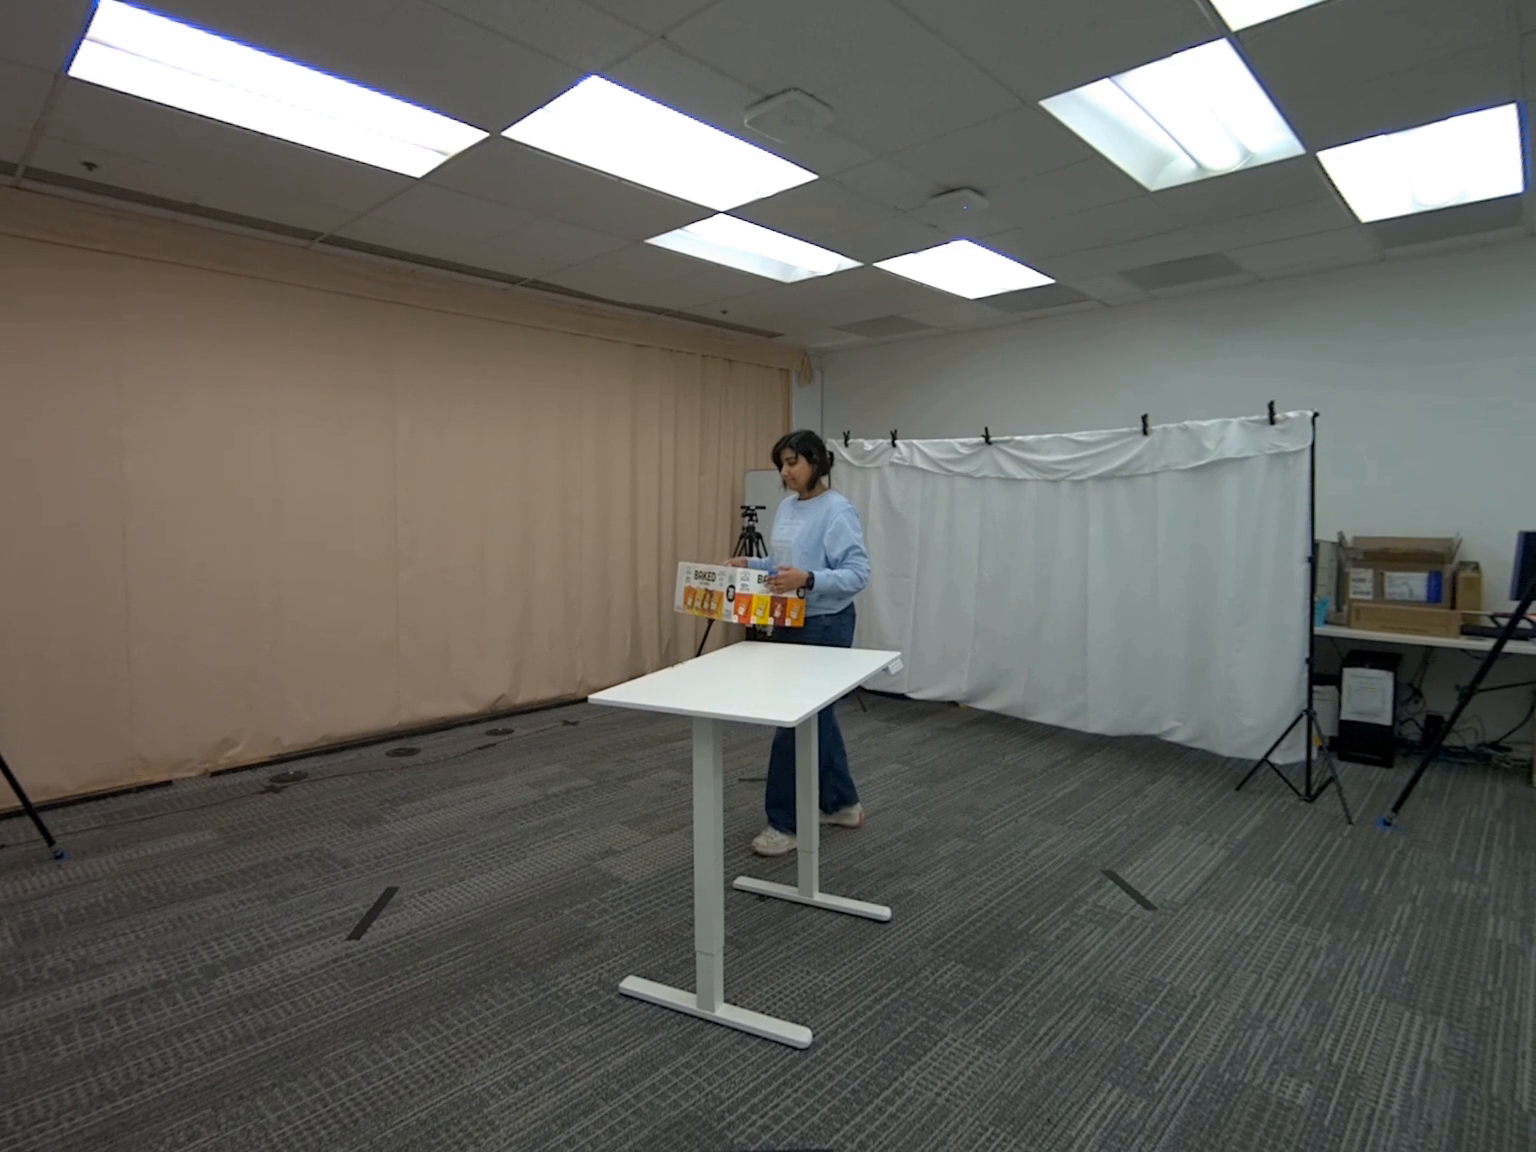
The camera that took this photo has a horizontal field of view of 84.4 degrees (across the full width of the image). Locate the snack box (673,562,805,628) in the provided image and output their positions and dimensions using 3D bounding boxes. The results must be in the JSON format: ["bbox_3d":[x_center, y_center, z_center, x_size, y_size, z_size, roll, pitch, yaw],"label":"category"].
[{"bbox_3d":[-0.107,0.071,3.329,0.329,0.206,0.418,6,0,-36],"label":"snack box"}]
